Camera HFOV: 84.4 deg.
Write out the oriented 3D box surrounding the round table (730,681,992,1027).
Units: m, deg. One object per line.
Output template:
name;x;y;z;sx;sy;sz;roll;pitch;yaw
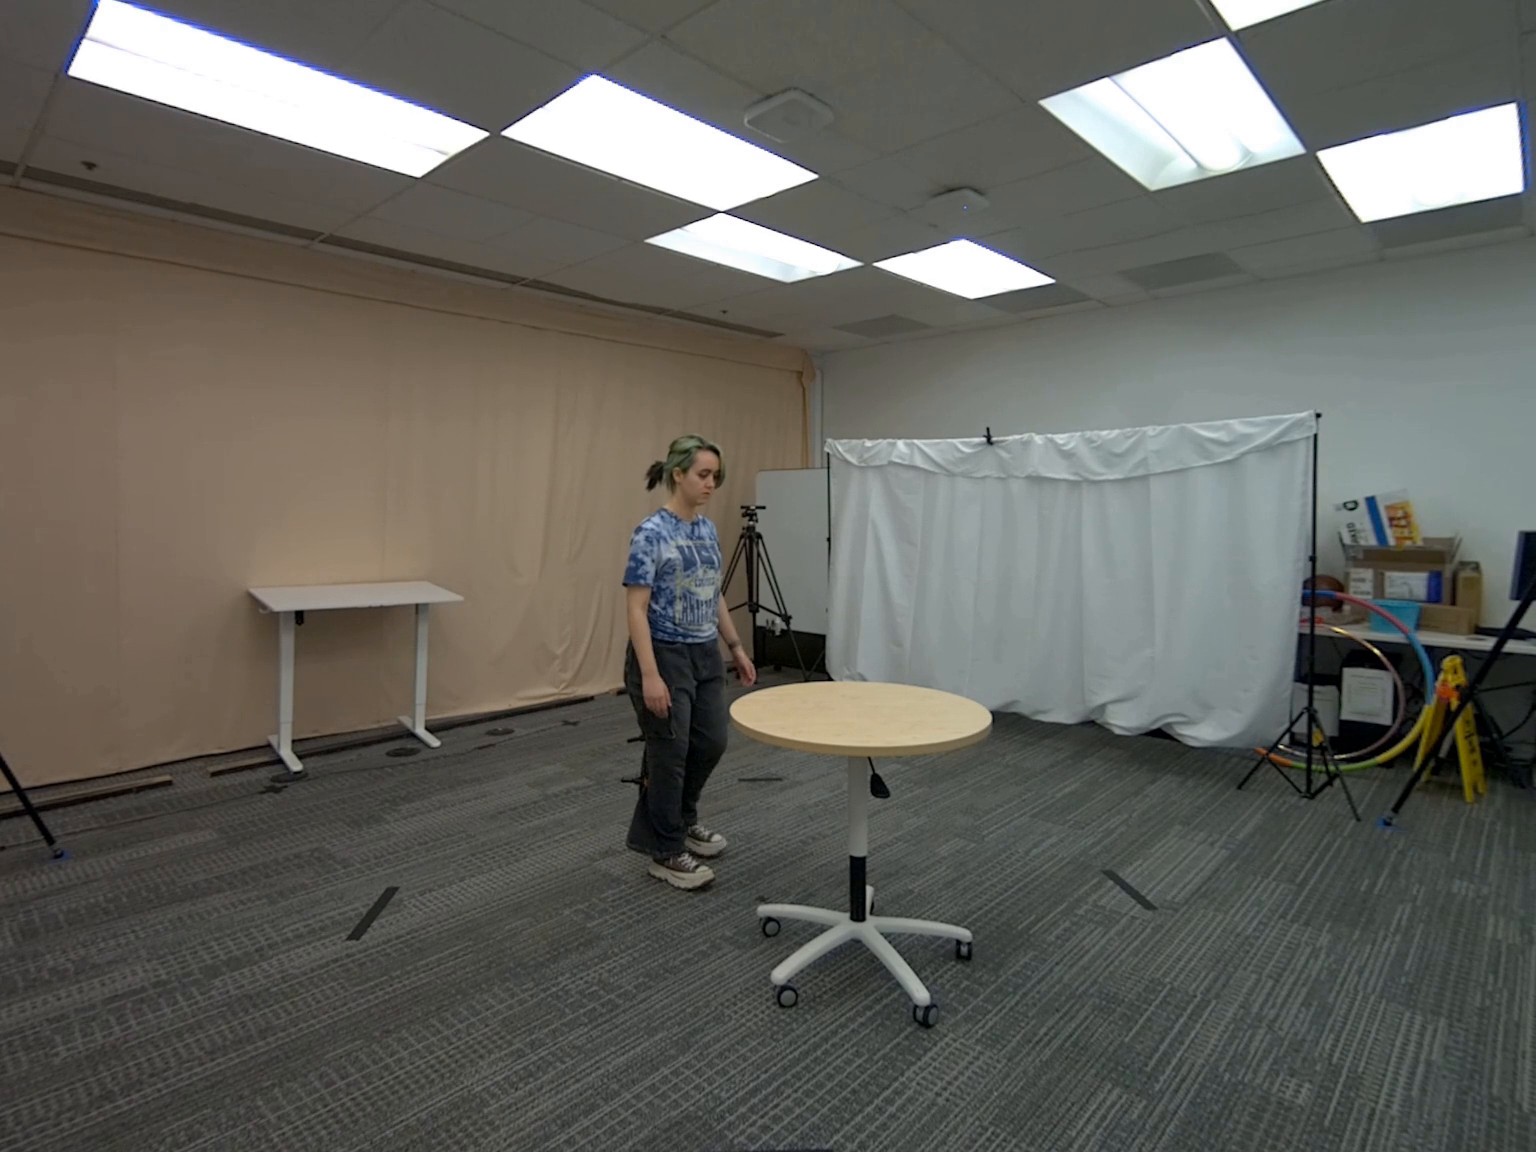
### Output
round table;0.278;0.792;2.536;0.763;0.792;0.767;0;4;-2
